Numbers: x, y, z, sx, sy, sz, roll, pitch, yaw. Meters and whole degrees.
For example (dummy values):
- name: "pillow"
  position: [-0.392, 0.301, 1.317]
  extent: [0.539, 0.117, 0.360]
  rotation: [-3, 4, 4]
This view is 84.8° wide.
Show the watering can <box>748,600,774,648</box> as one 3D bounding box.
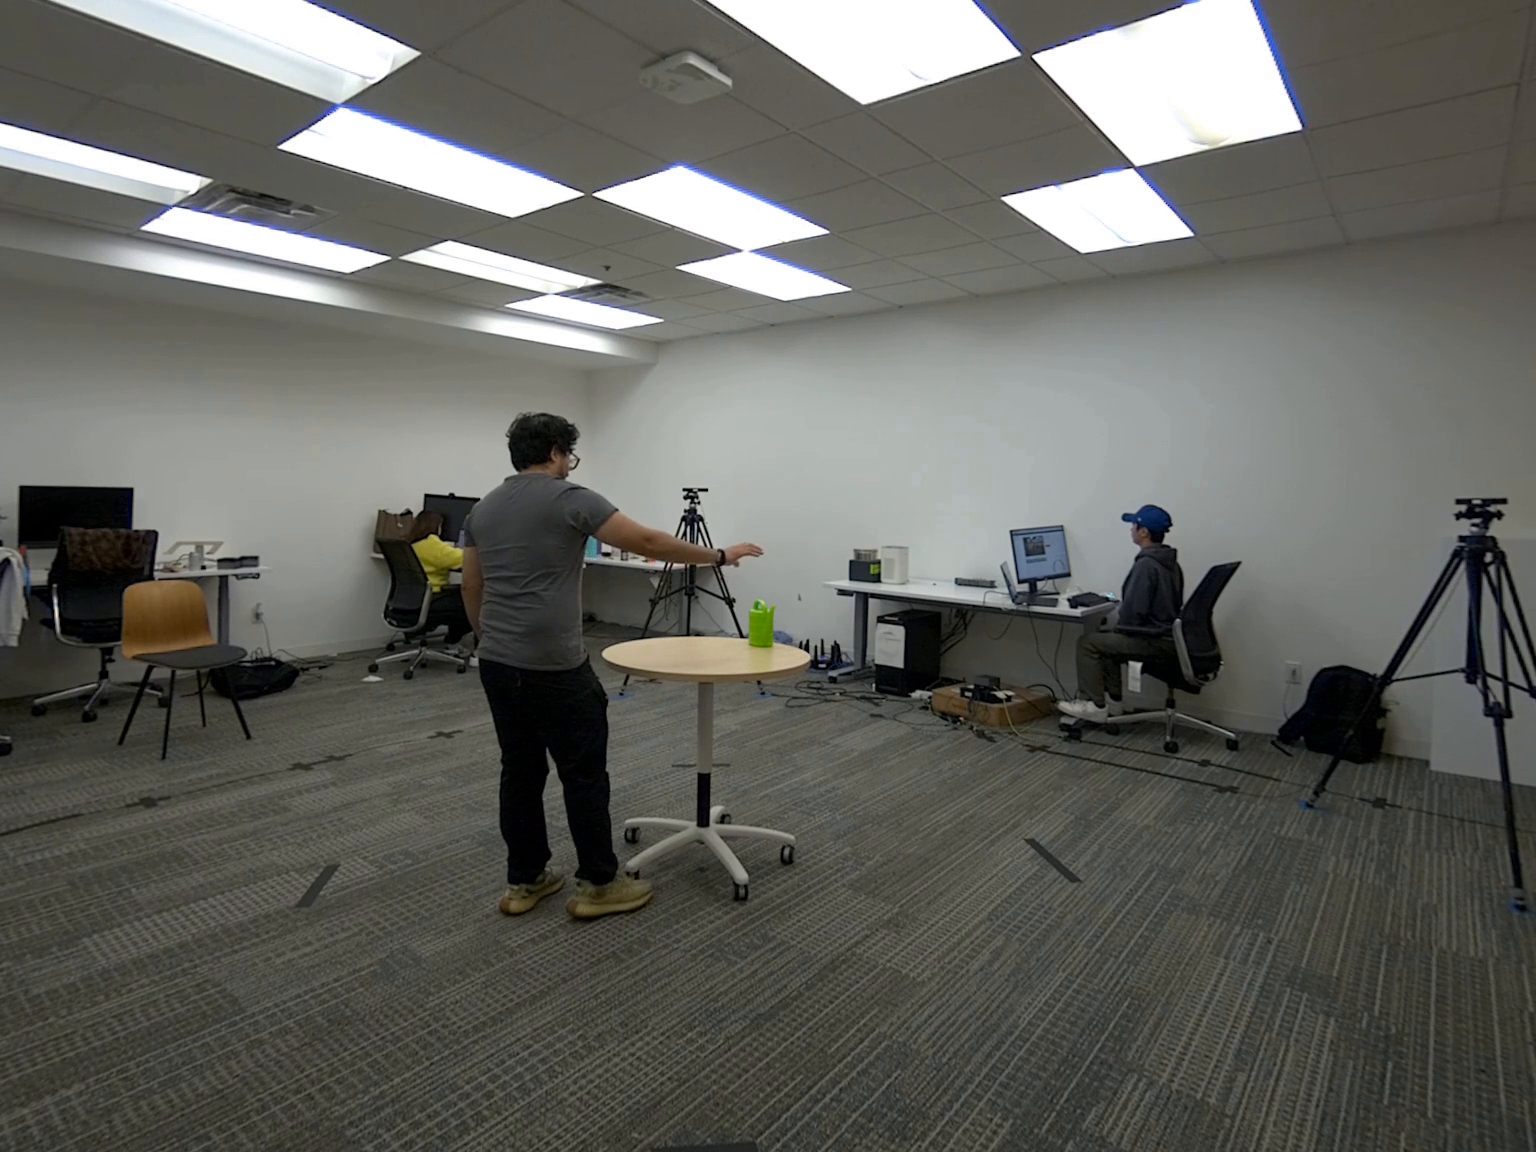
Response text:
- name: "watering can"
  position: [-0.037, 0.186, 3.316]
  extent: [0.098, 0.176, 0.280]
  rotation: [2, 3, -4]
